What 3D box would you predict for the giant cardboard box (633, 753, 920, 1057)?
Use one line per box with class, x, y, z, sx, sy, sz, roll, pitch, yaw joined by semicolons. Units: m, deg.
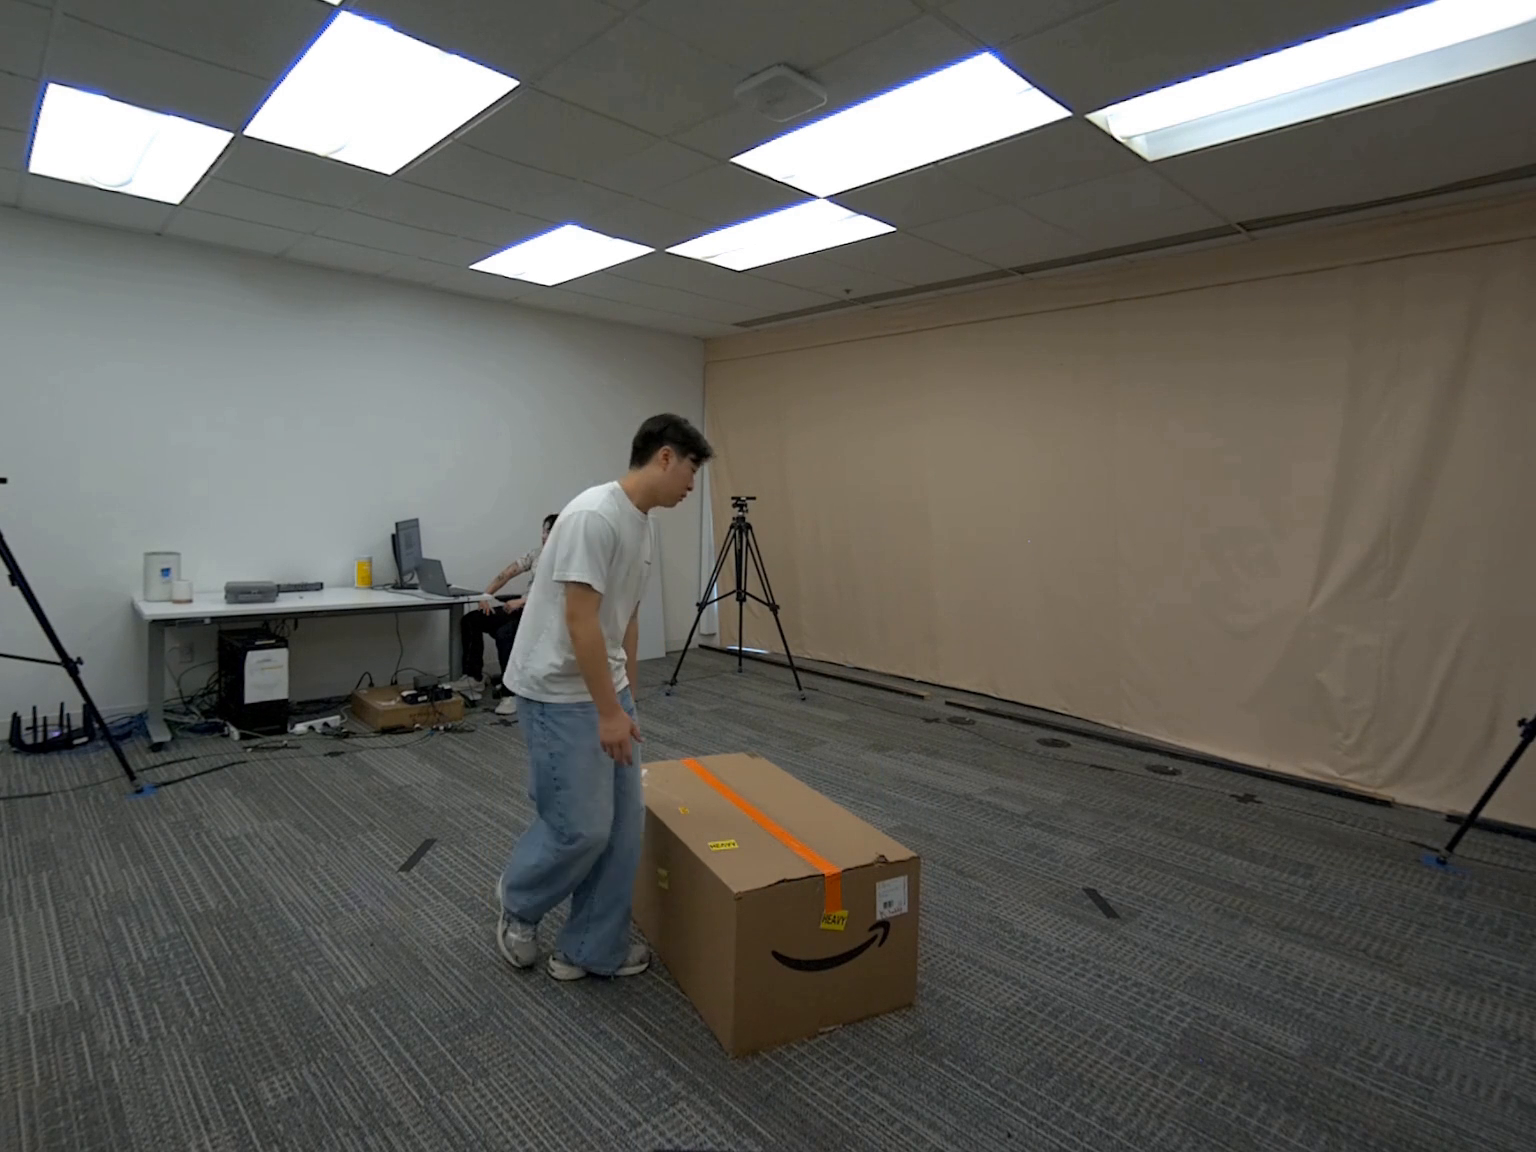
giant cardboard box;-0.073;0.936;2.656;0.567;0.425;1.048;-1;6;-27
